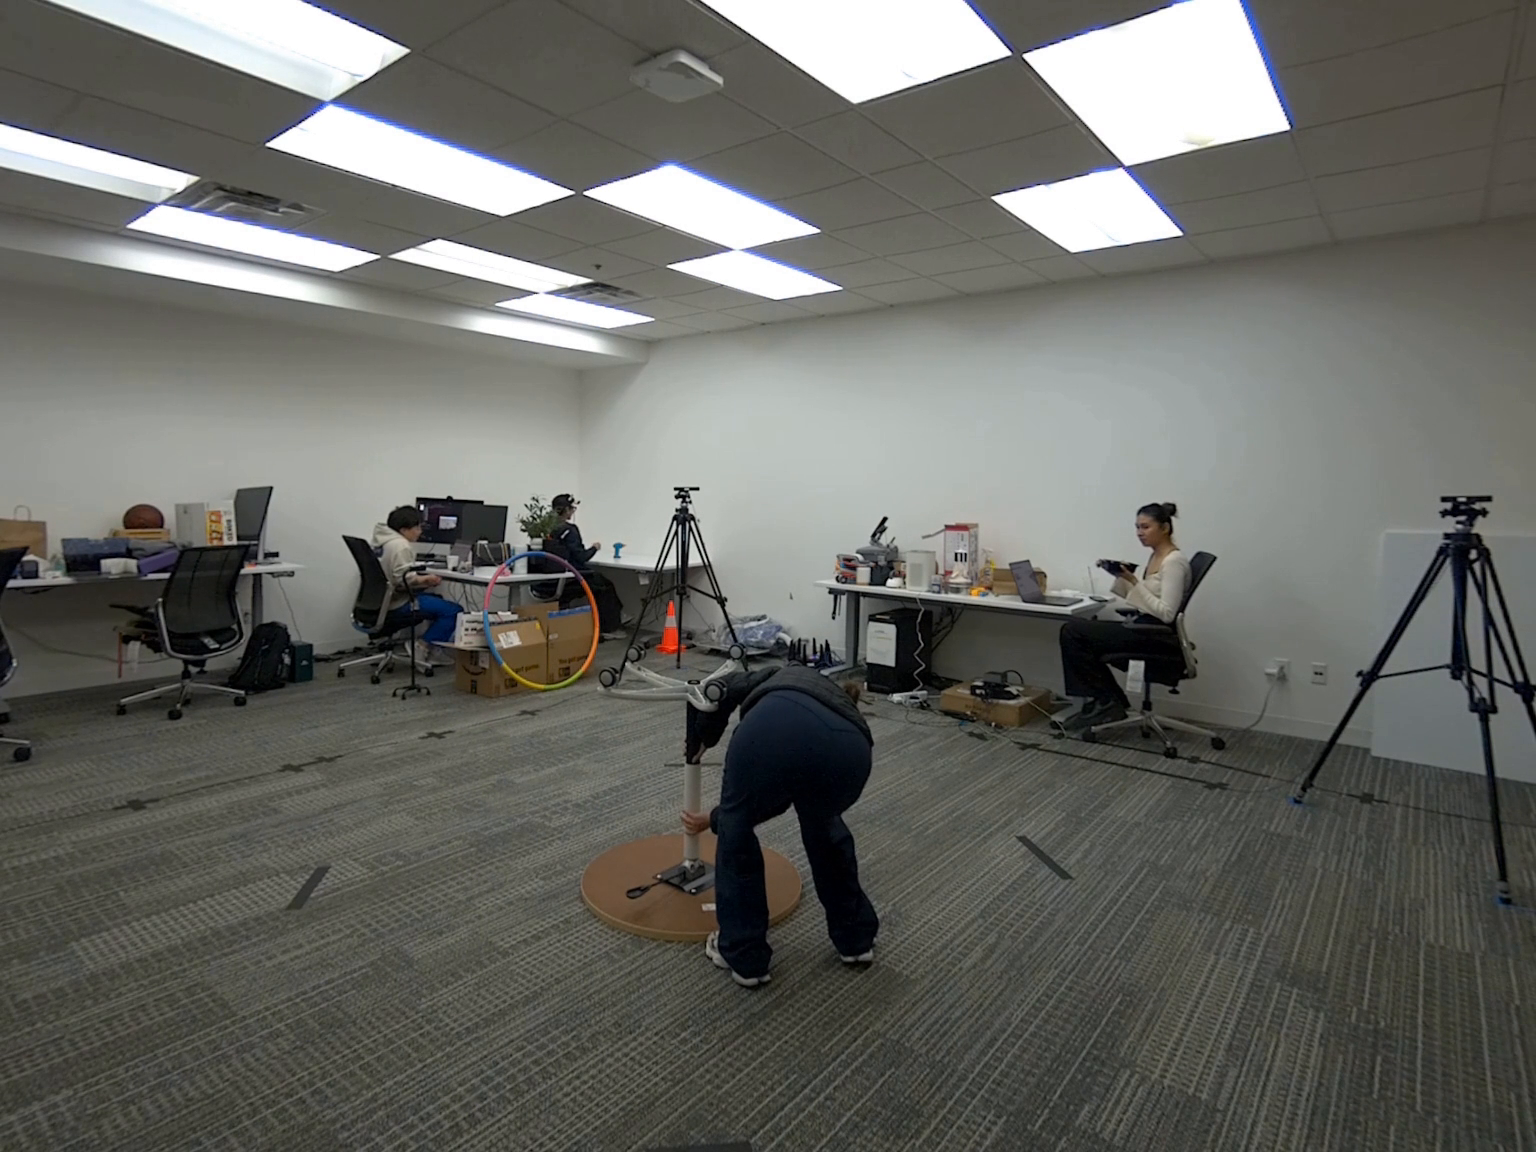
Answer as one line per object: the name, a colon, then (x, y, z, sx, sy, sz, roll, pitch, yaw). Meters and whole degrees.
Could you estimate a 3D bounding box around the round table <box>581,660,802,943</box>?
round table: (-0.259, 0.673, 2.970, 0.784, 0.784, 0.788, 2, 4, -2)
